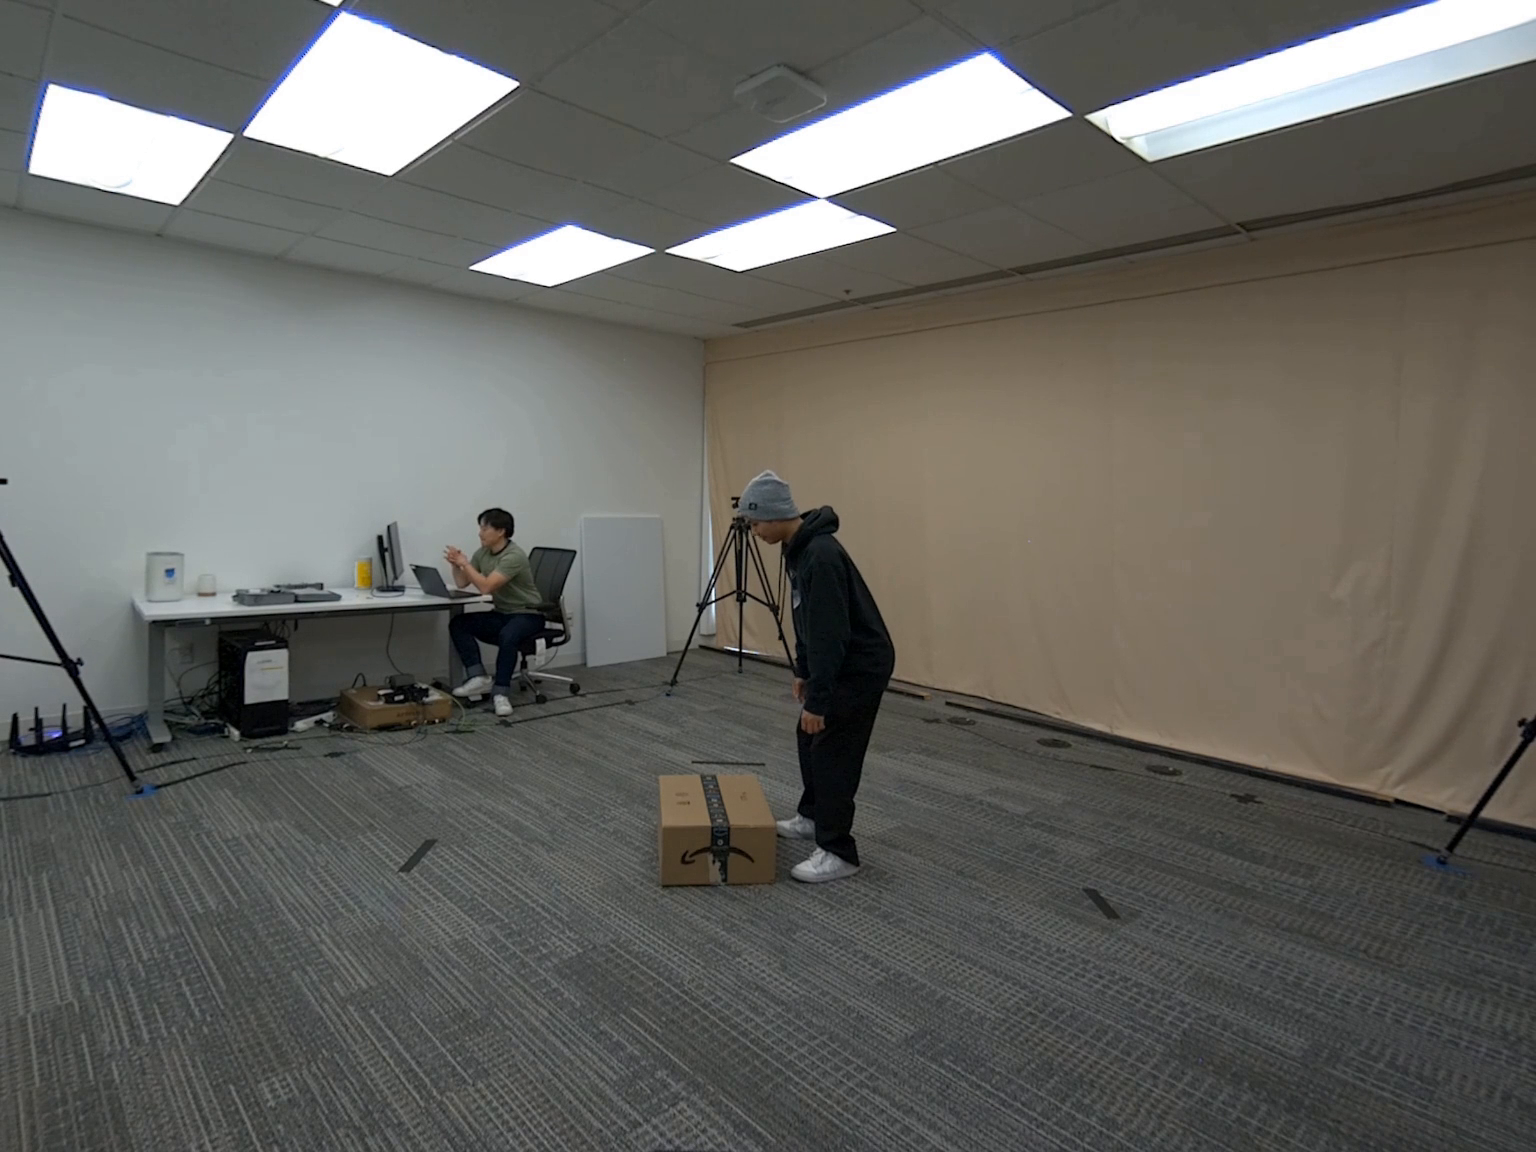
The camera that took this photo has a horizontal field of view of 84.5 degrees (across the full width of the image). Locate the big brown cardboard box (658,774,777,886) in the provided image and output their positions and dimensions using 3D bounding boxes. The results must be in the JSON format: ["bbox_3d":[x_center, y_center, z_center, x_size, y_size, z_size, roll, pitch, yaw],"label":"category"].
[{"bbox_3d":[-0.224,0.976,3.296,0.415,0.232,0.594,1,4,-8],"label":"big brown cardboard box"}]
